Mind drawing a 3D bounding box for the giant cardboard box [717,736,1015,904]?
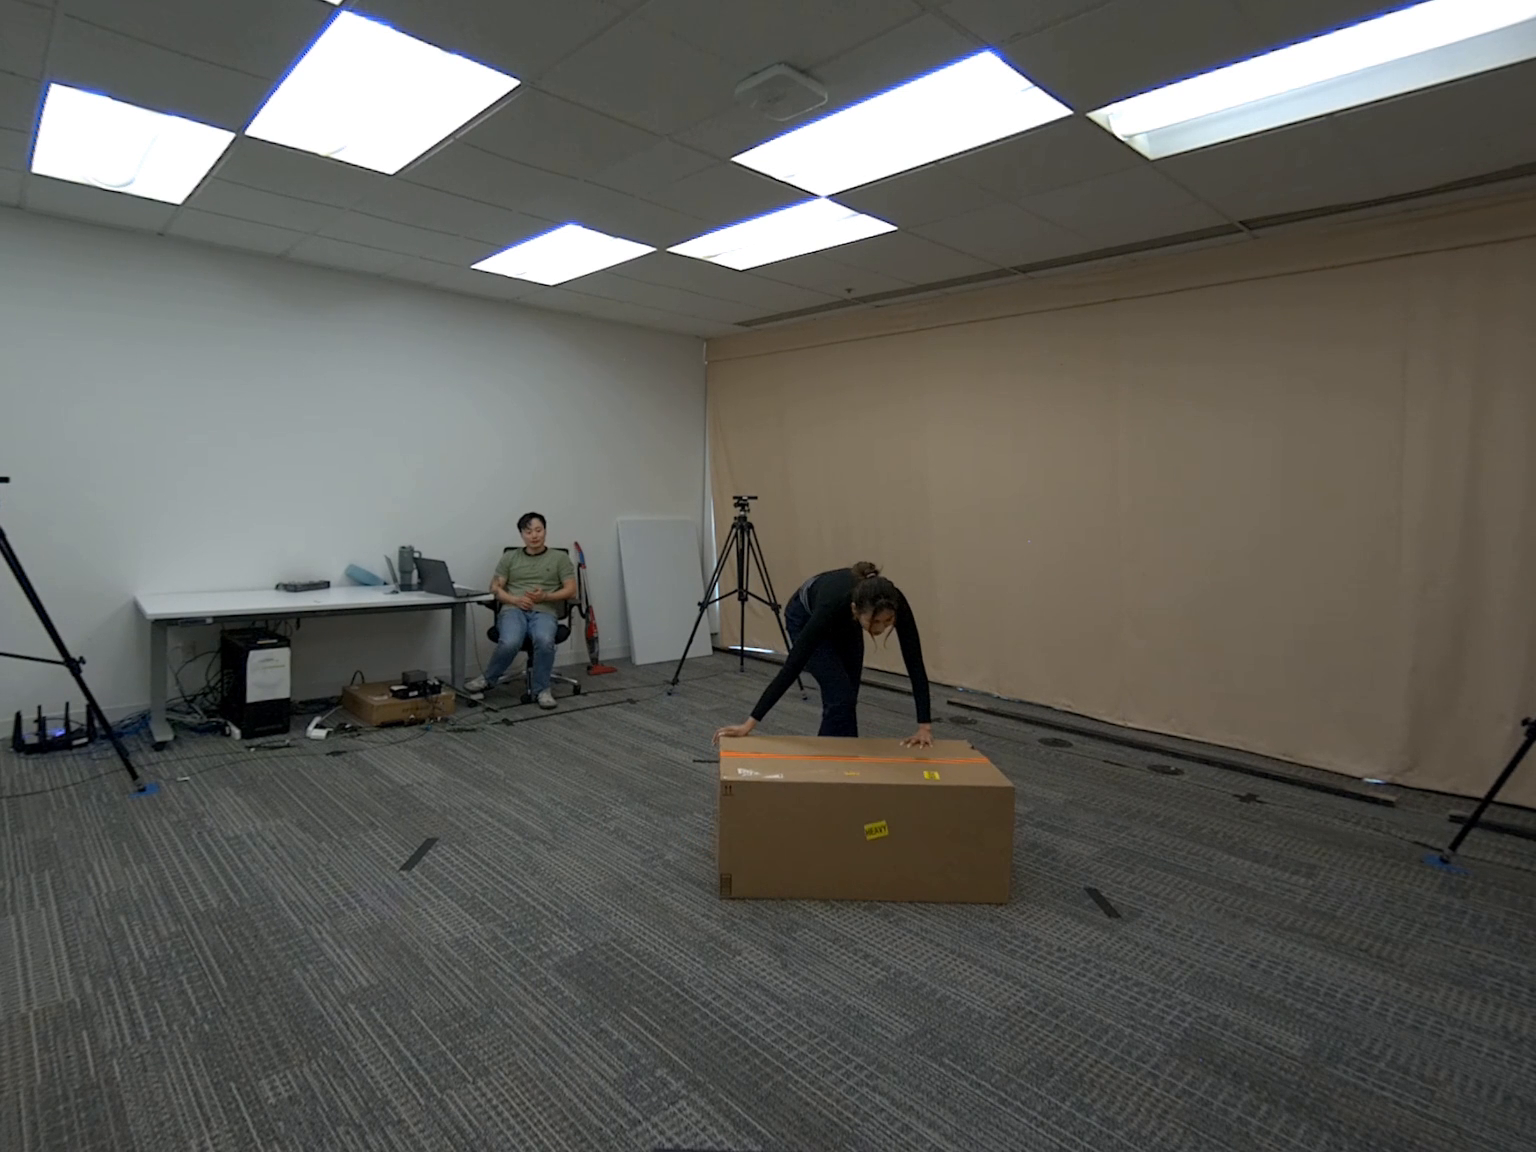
[{"bbox_3d":[0.314,0.891,3.185,1.025,0.425,0.579,1,3,-2],"label":"giant cardboard box"}]
